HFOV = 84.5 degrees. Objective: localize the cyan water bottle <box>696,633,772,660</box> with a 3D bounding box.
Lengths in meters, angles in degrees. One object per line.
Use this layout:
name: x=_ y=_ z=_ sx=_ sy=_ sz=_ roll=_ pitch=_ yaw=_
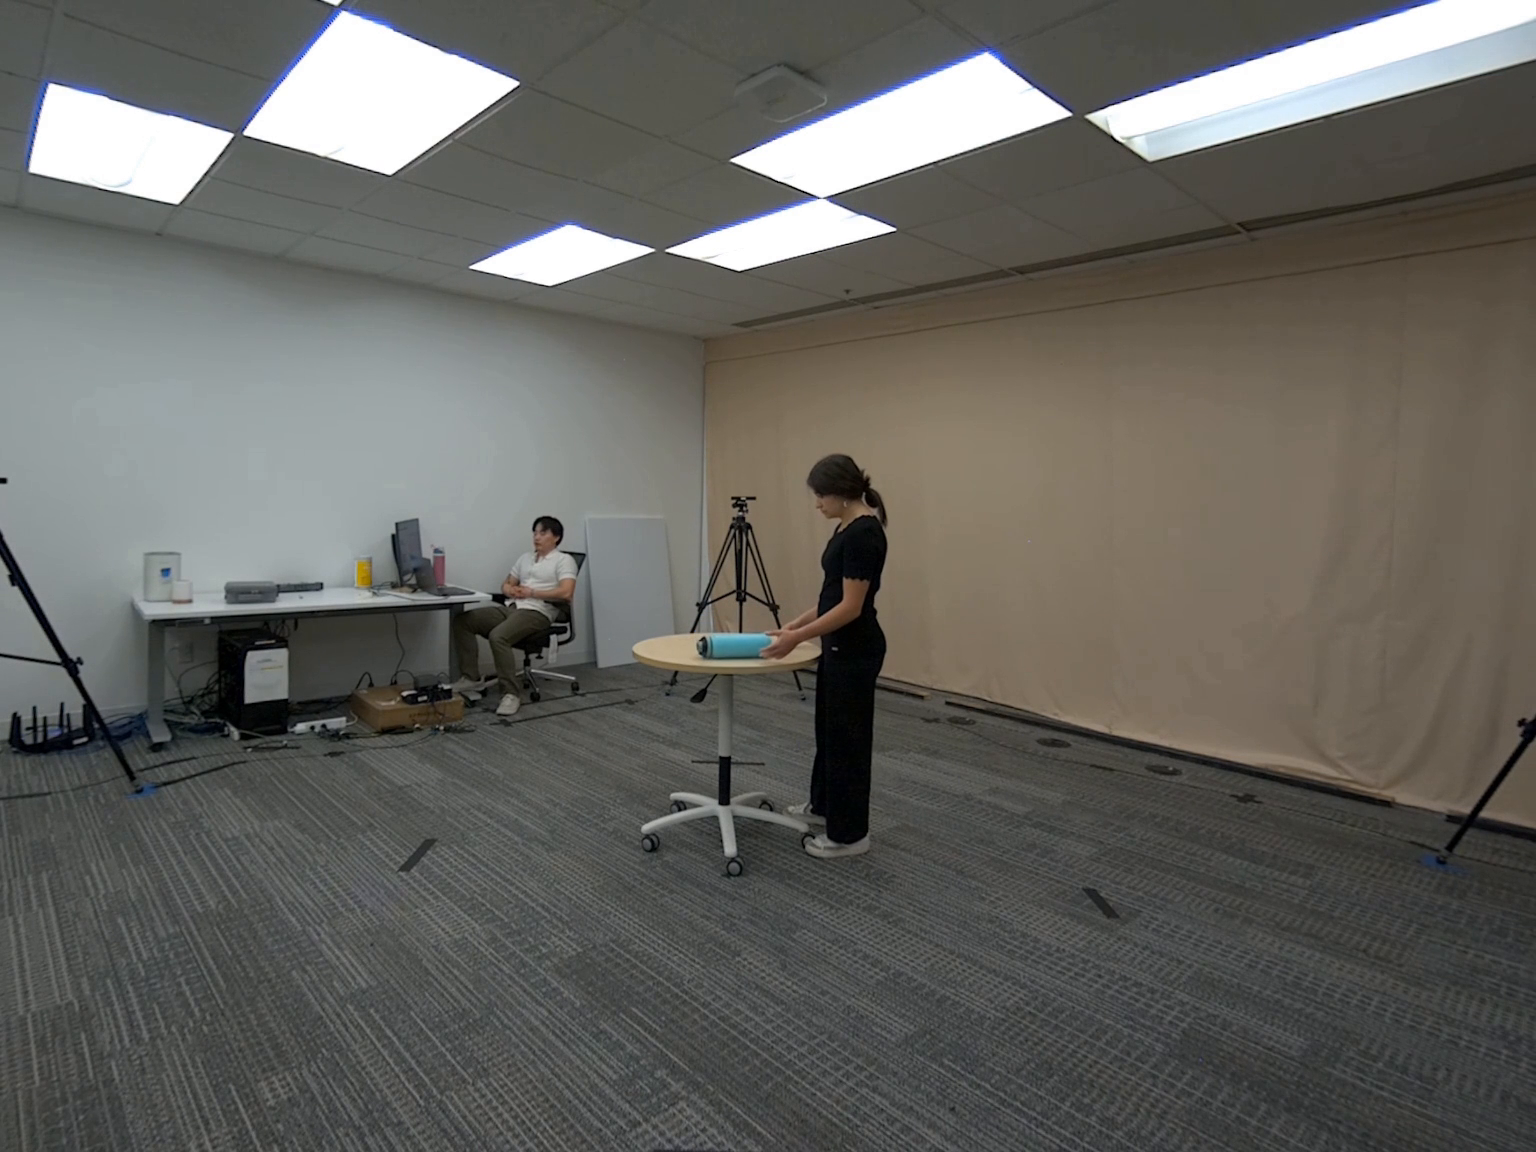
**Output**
cyan water bottle: x=-0.134 y=0.266 z=3.200 sx=0.281 sy=0.092 sz=0.093 roll=-1 pitch=4 yaw=-10
